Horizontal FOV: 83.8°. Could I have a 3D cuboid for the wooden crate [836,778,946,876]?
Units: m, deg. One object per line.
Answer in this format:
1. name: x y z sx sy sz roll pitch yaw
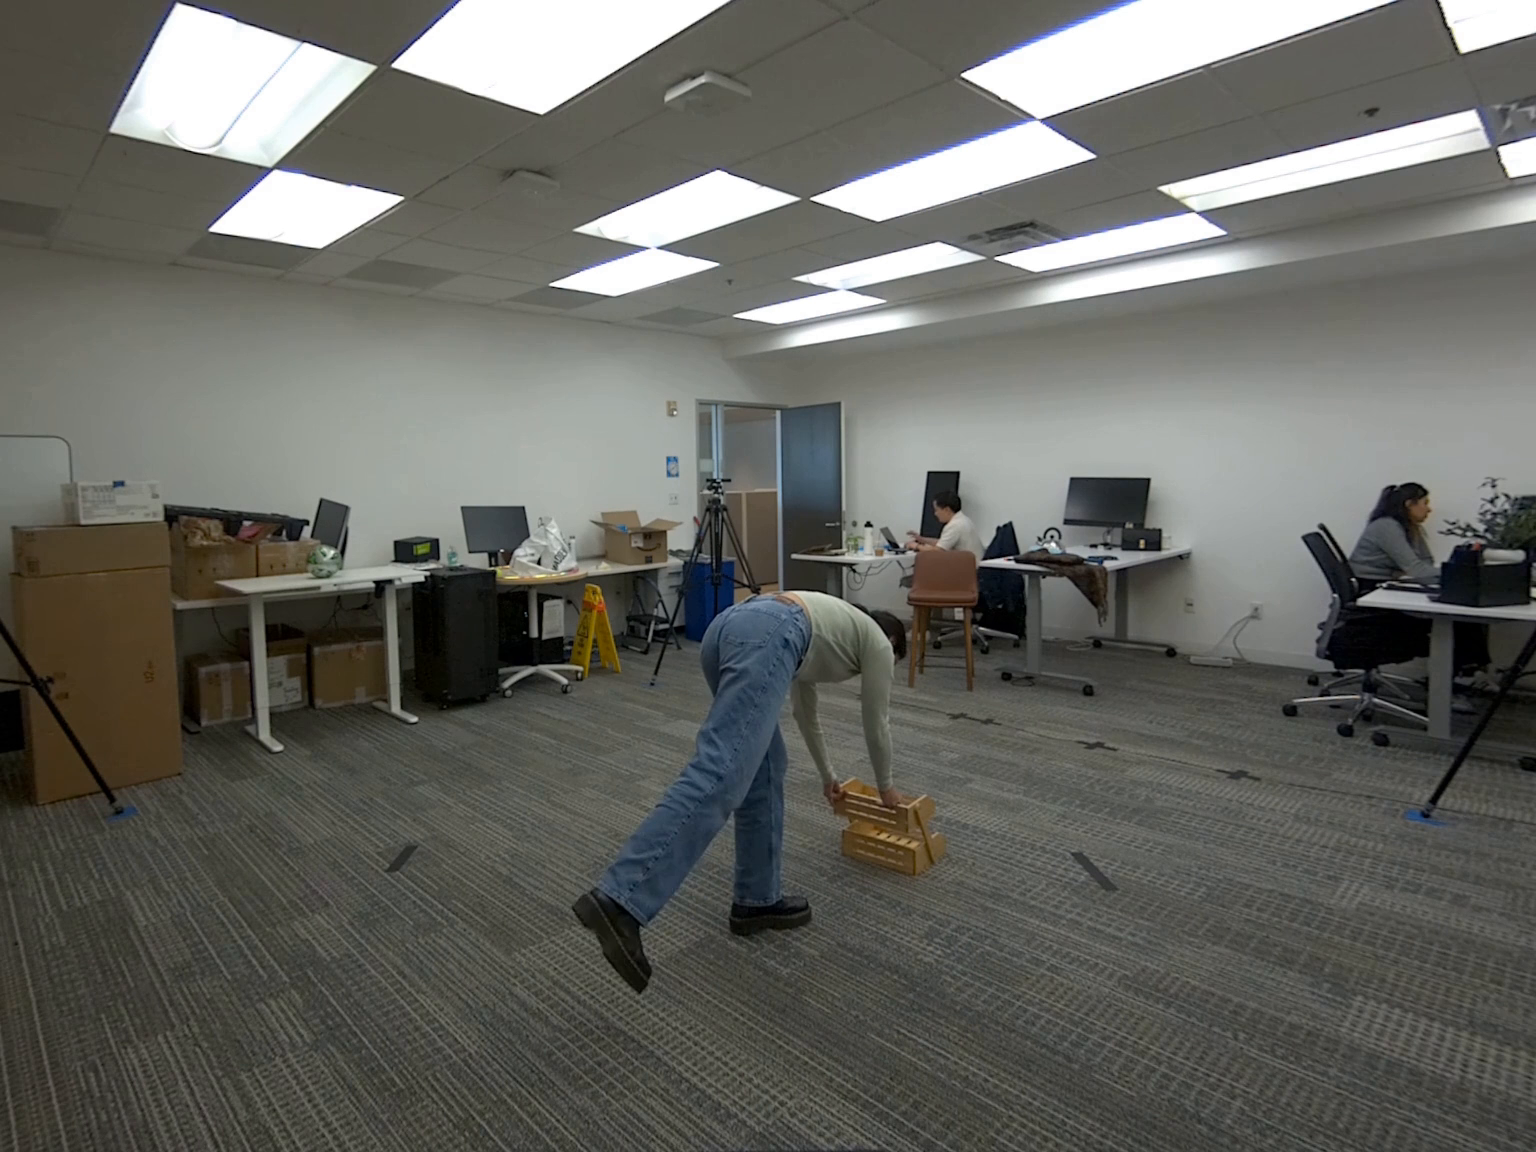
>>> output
1. wooden crate: 0.454 0.898 3.146 0.334 0.272 0.294 3 7 38
